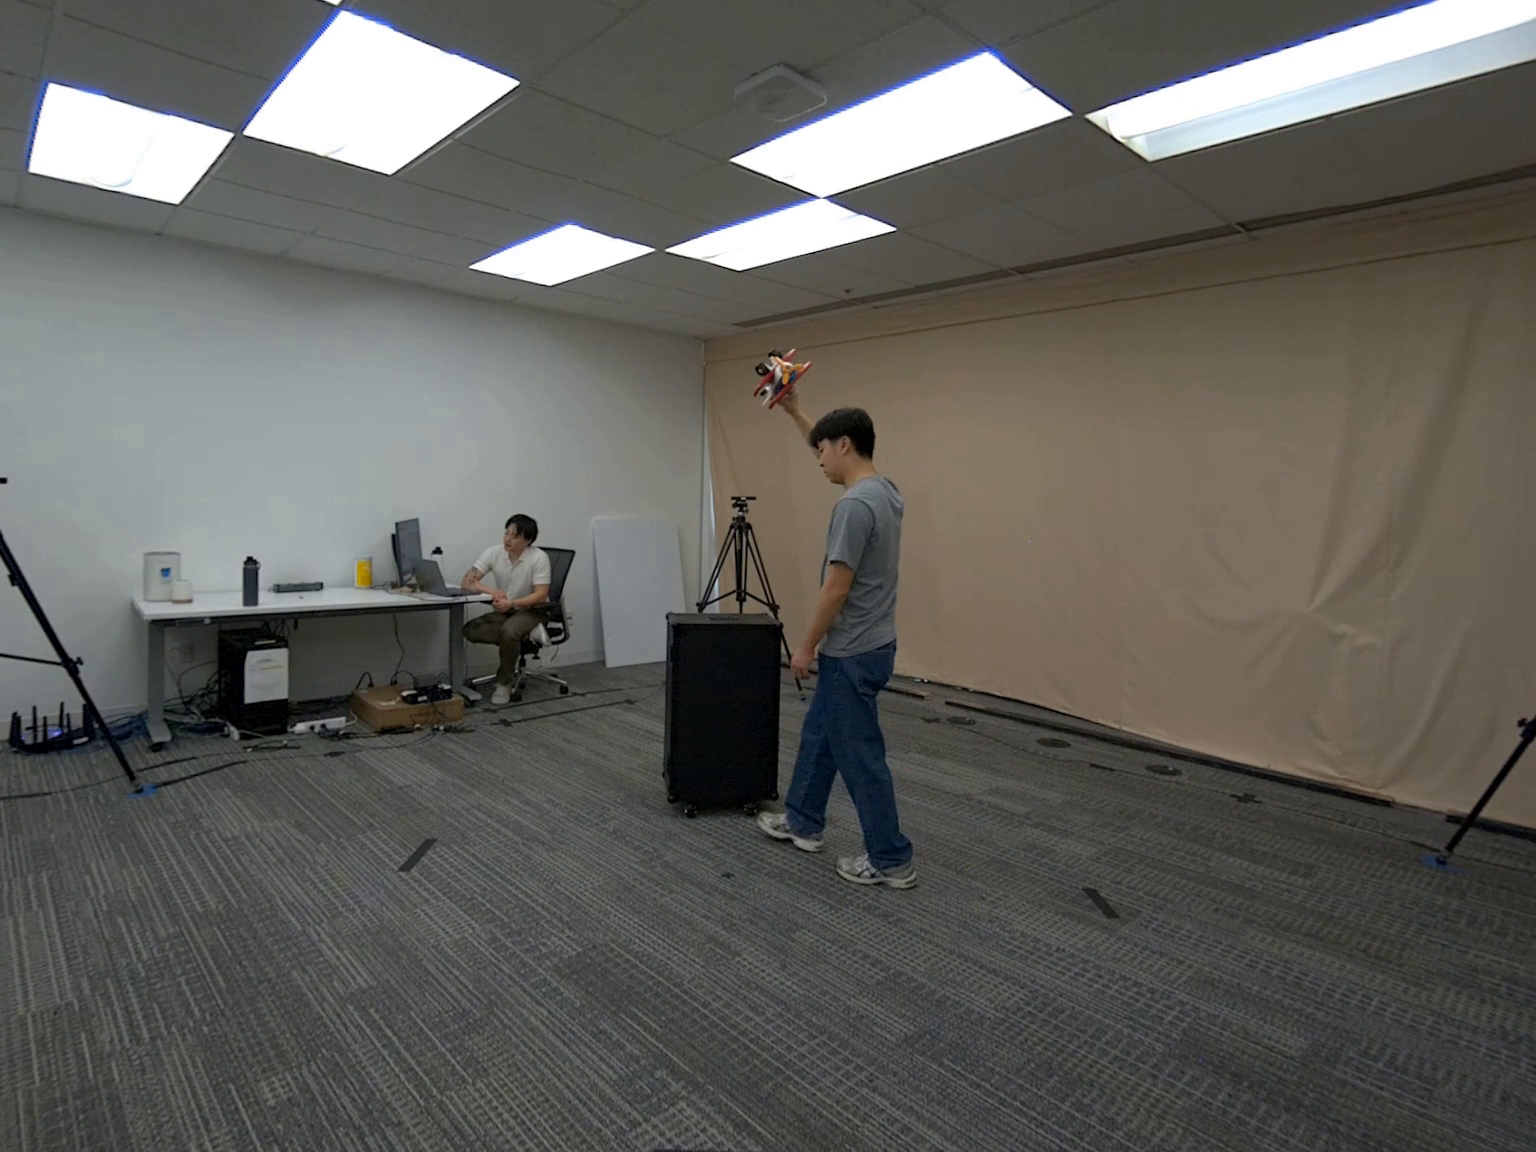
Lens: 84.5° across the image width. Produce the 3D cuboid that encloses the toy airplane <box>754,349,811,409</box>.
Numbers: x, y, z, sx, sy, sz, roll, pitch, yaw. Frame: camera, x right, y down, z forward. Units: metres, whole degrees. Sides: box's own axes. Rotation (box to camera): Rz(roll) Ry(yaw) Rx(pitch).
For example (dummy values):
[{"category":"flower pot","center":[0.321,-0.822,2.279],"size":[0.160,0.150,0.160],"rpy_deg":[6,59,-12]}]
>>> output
[{"category":"toy airplane","center":[0.052,-0.782,3.328],"size":[0.159,0.251,0.255],"rpy_deg":[37,8,14]}]
